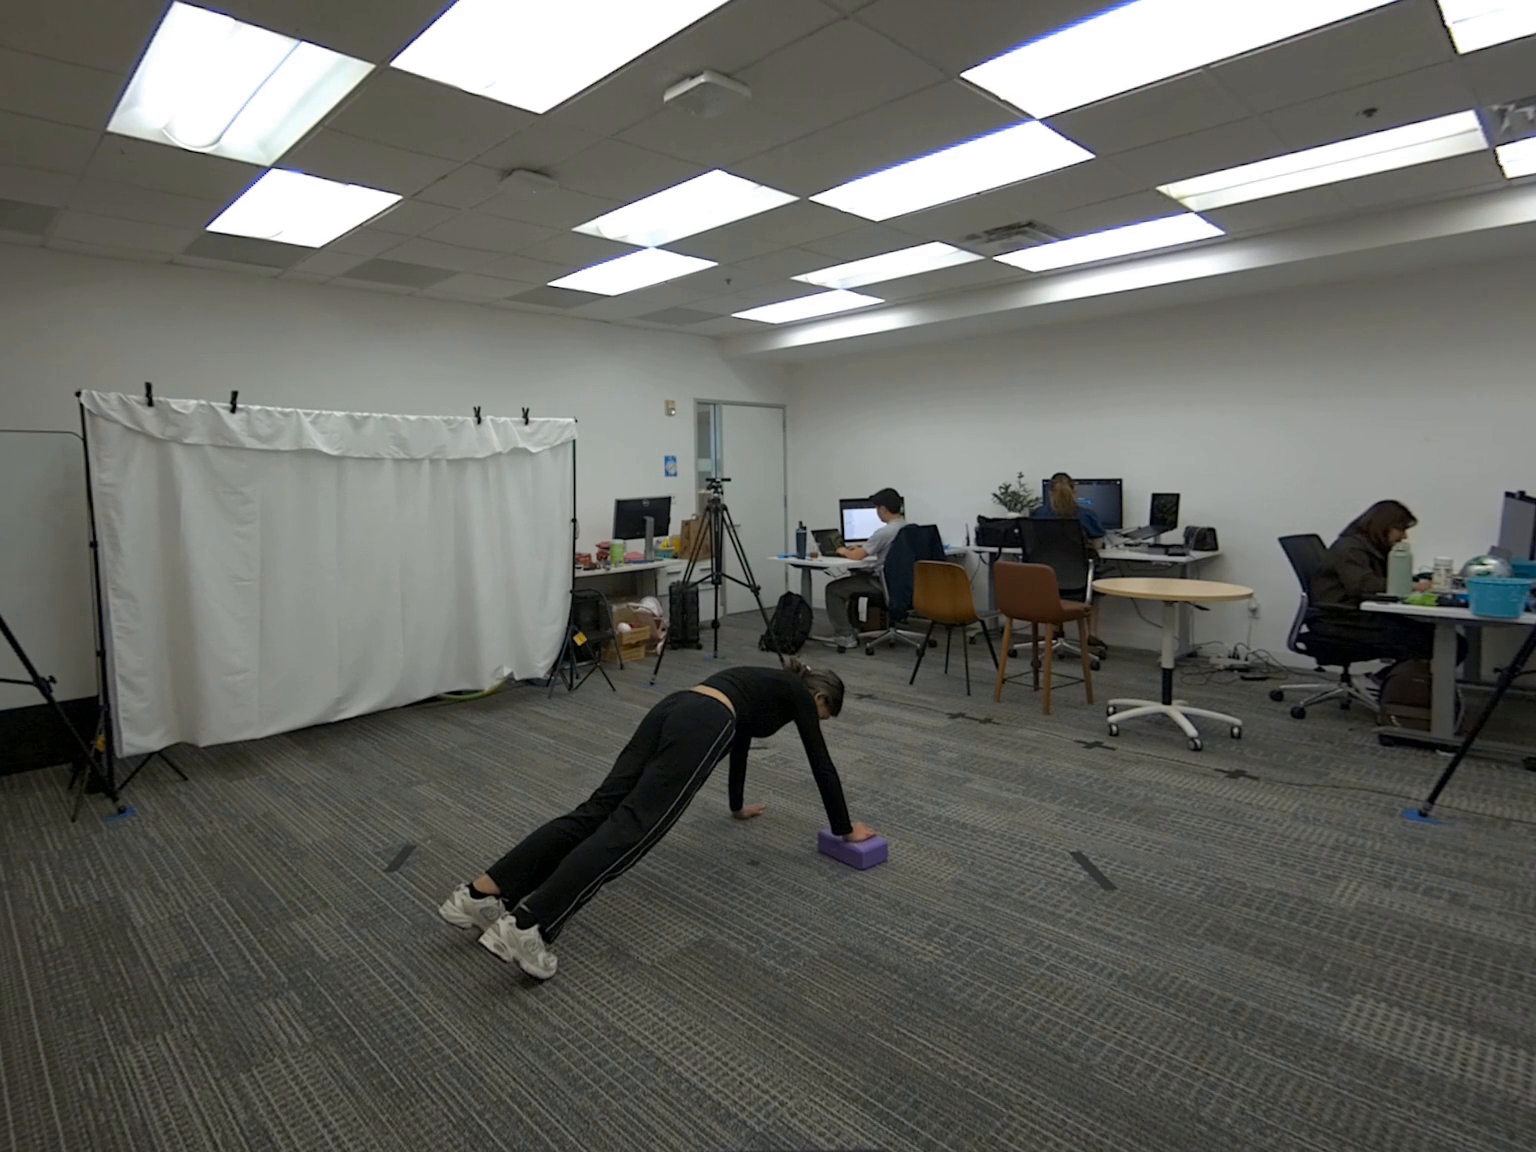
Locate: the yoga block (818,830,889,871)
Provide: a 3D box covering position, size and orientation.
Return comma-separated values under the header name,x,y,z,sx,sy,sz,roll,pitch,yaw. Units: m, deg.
name,x,y,z,sx,sy,sz,roll,pitch,yaw
yoga block,0.310,0.994,3.150,0.145,0.076,0.236,-5,9,-38
